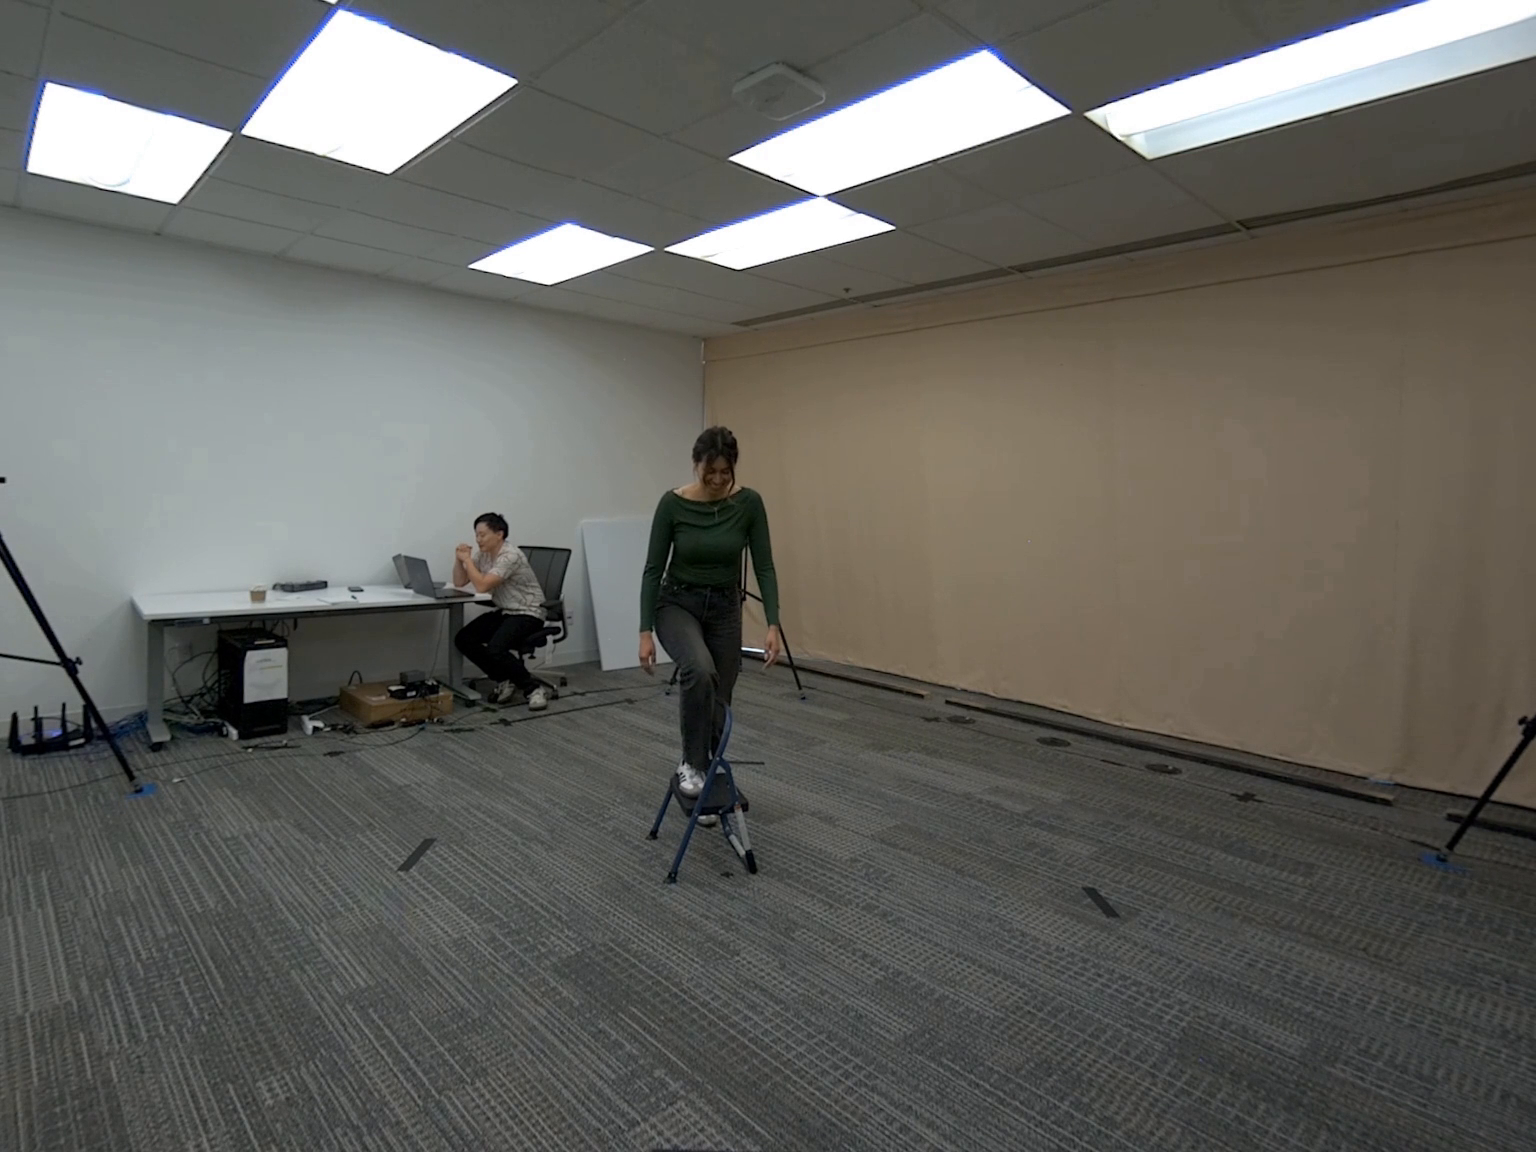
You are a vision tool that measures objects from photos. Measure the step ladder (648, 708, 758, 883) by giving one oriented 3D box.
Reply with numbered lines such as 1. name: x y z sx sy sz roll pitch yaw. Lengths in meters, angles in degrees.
1. step ladder: -0.261 0.785 3.247 0.345 0.604 0.437 1 4 -17
